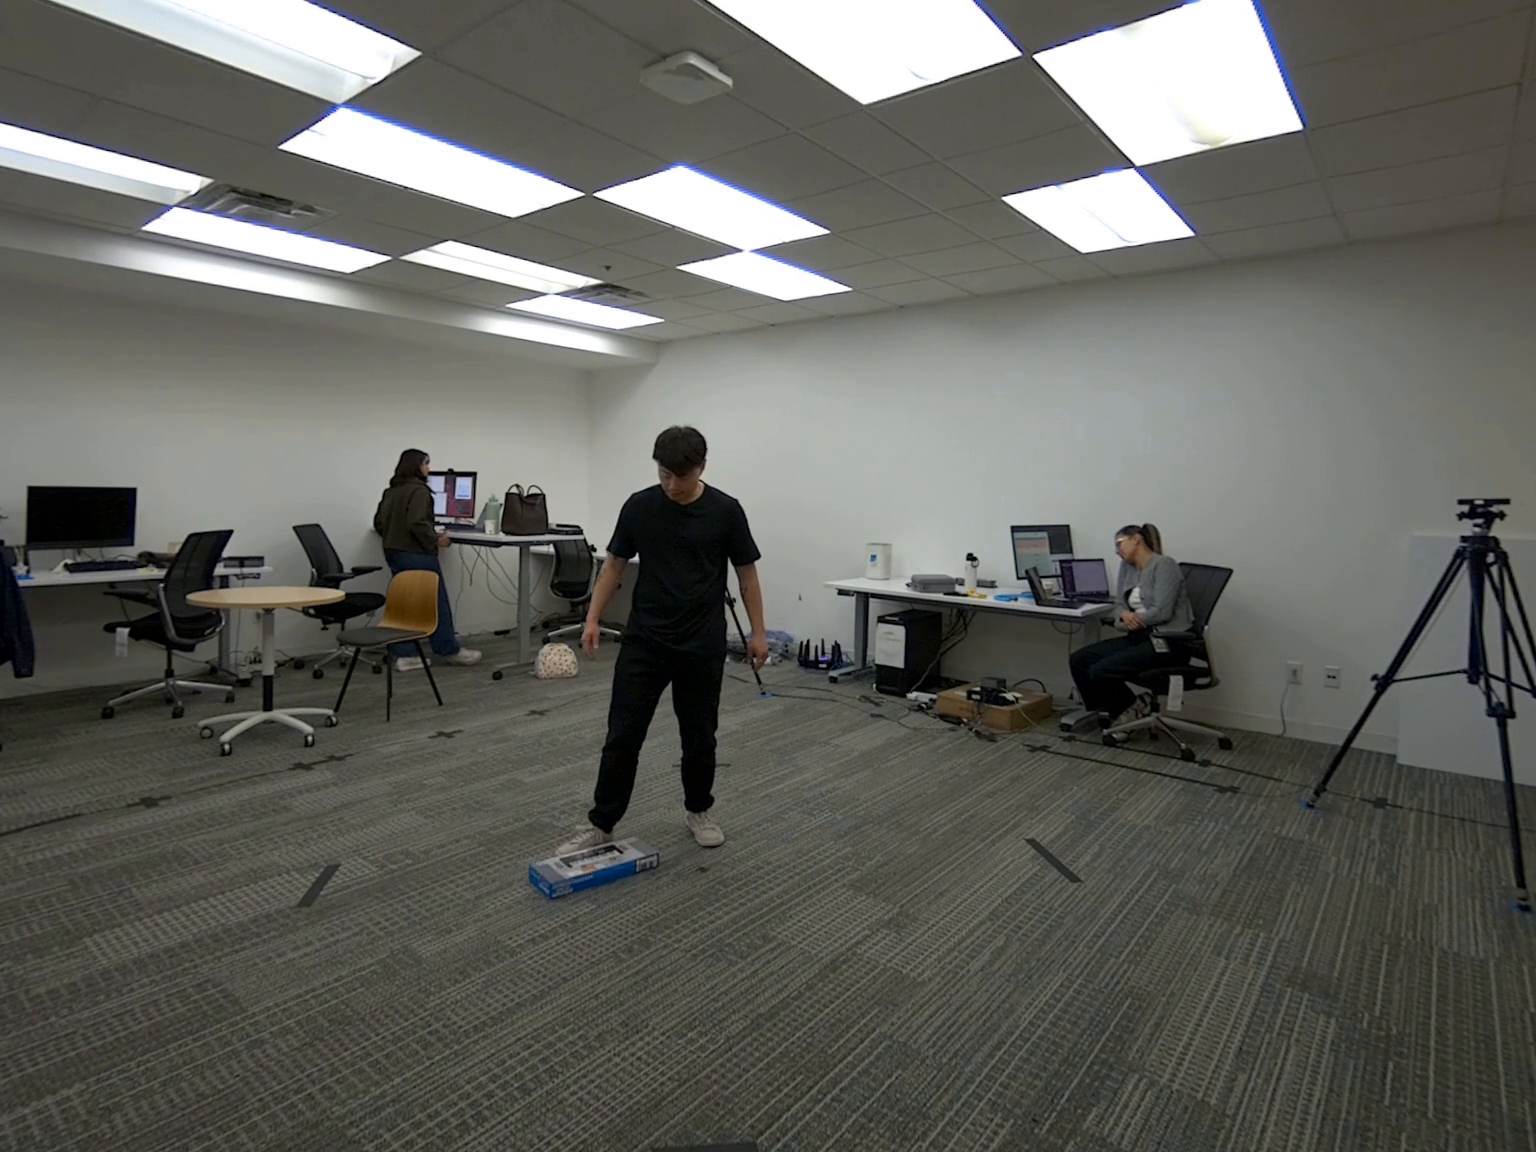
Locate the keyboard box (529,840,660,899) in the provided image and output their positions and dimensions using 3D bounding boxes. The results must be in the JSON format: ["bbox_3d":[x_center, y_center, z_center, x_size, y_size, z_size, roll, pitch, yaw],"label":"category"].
[{"bbox_3d":[-0.624,1.037,3.052,0.424,0.059,0.182,-3,7,-38],"label":"keyboard box"}]
